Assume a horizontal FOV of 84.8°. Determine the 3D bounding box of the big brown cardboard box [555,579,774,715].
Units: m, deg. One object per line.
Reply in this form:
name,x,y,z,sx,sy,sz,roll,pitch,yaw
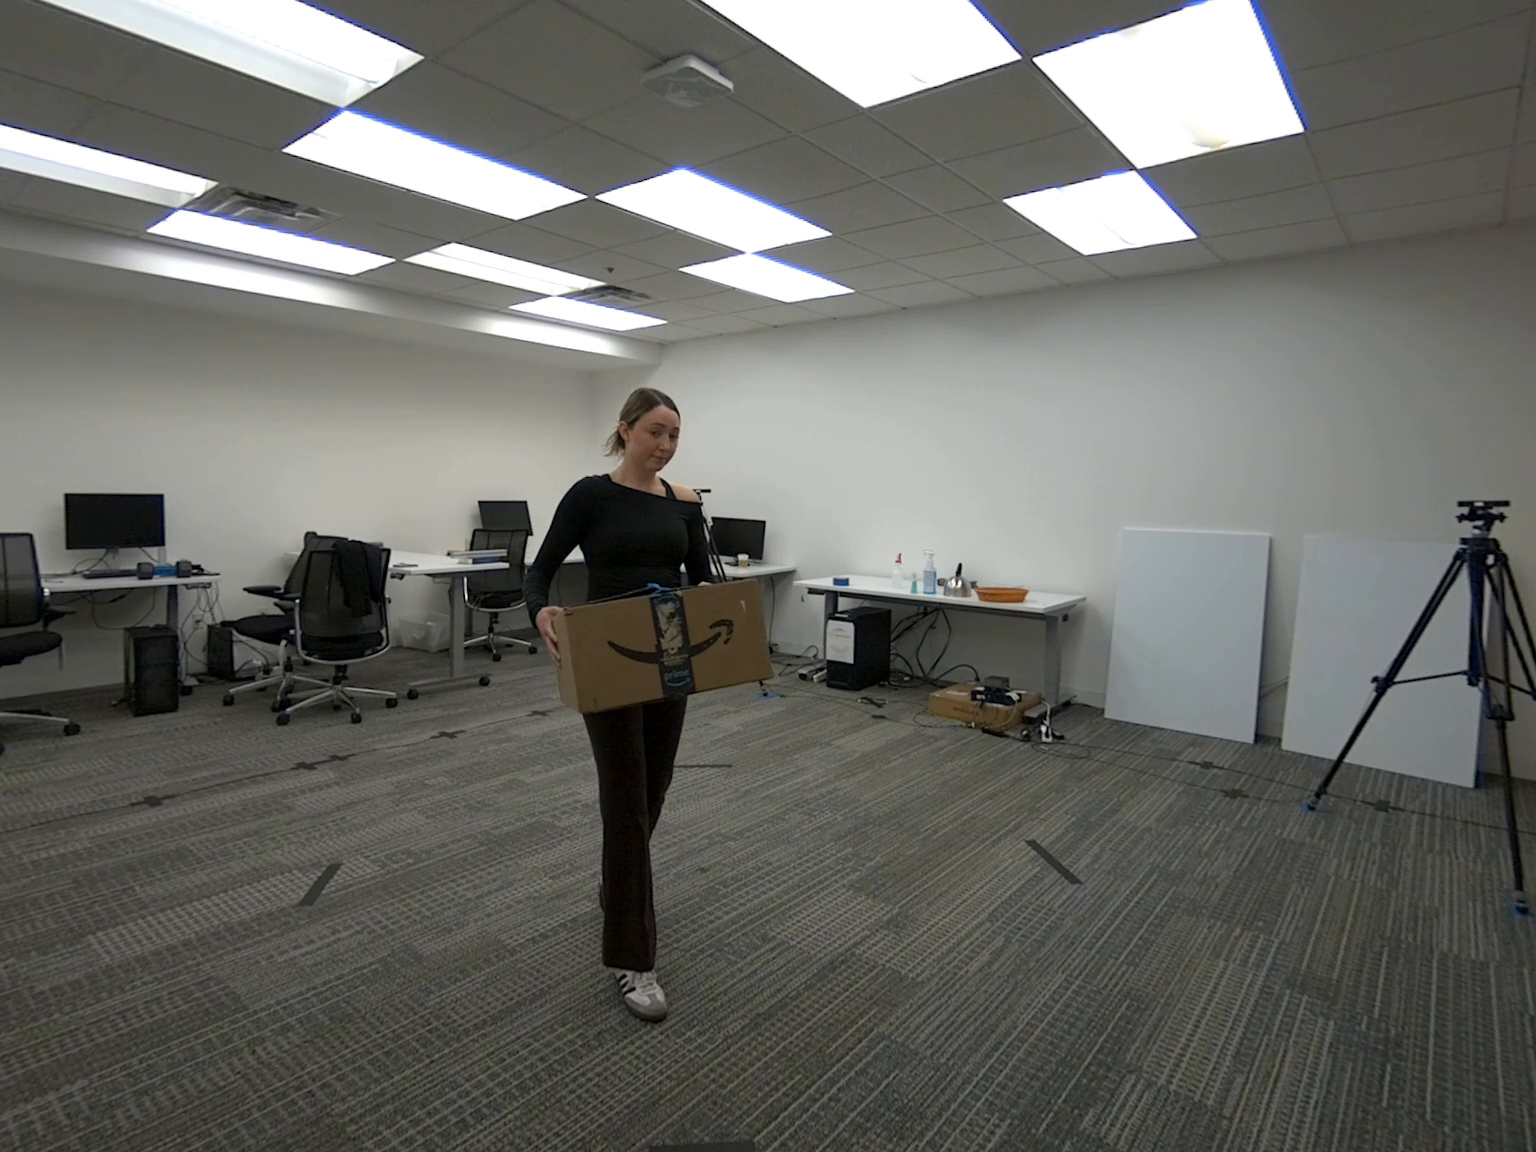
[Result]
big brown cardboard box,-0.294,0.156,2.009,0.411,0.234,0.595,-8,-4,-19
